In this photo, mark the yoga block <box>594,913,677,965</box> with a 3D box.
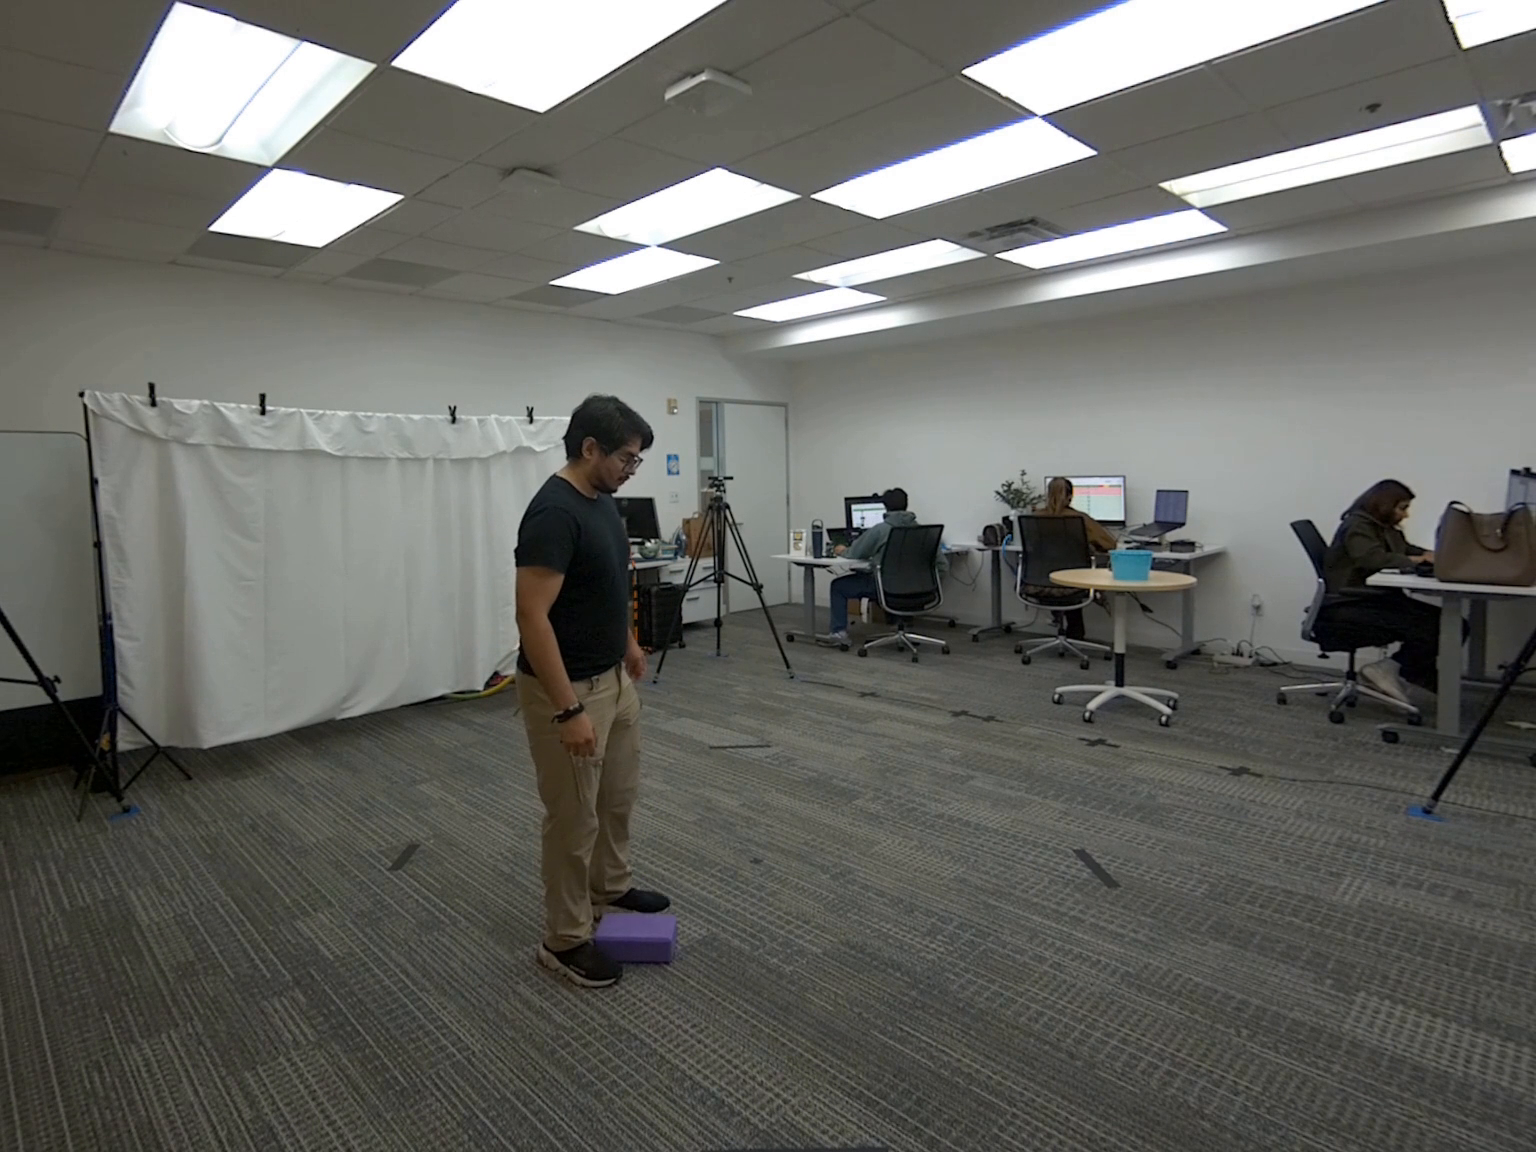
[{"bbox_3d":[-0.388,1.069,2.537,0.230,0.076,0.149,-2,4,3],"label":"yoga block"}]
